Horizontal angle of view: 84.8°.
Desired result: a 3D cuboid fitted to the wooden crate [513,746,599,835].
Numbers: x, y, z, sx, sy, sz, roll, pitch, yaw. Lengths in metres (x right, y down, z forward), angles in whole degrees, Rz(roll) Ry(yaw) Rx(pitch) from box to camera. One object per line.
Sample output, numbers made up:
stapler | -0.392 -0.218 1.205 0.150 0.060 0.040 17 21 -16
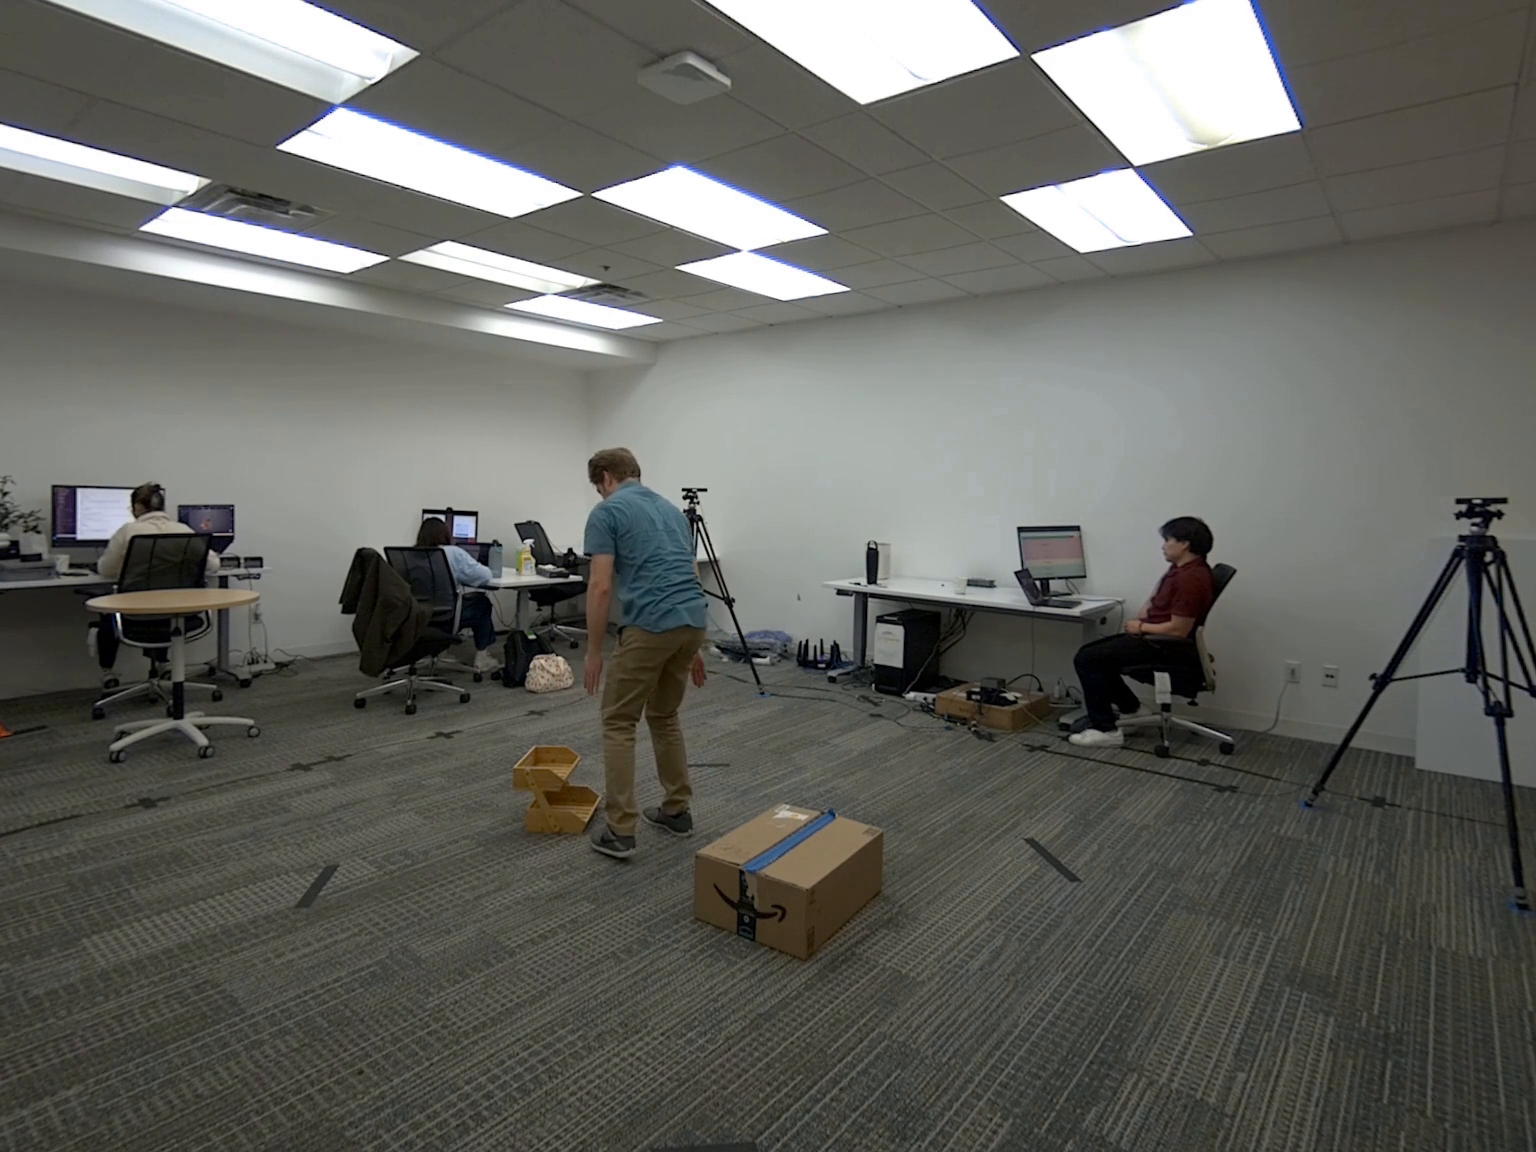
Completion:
wooden crate | -0.879 0.877 3.563 0.303 0.272 0.325 0 4 1
